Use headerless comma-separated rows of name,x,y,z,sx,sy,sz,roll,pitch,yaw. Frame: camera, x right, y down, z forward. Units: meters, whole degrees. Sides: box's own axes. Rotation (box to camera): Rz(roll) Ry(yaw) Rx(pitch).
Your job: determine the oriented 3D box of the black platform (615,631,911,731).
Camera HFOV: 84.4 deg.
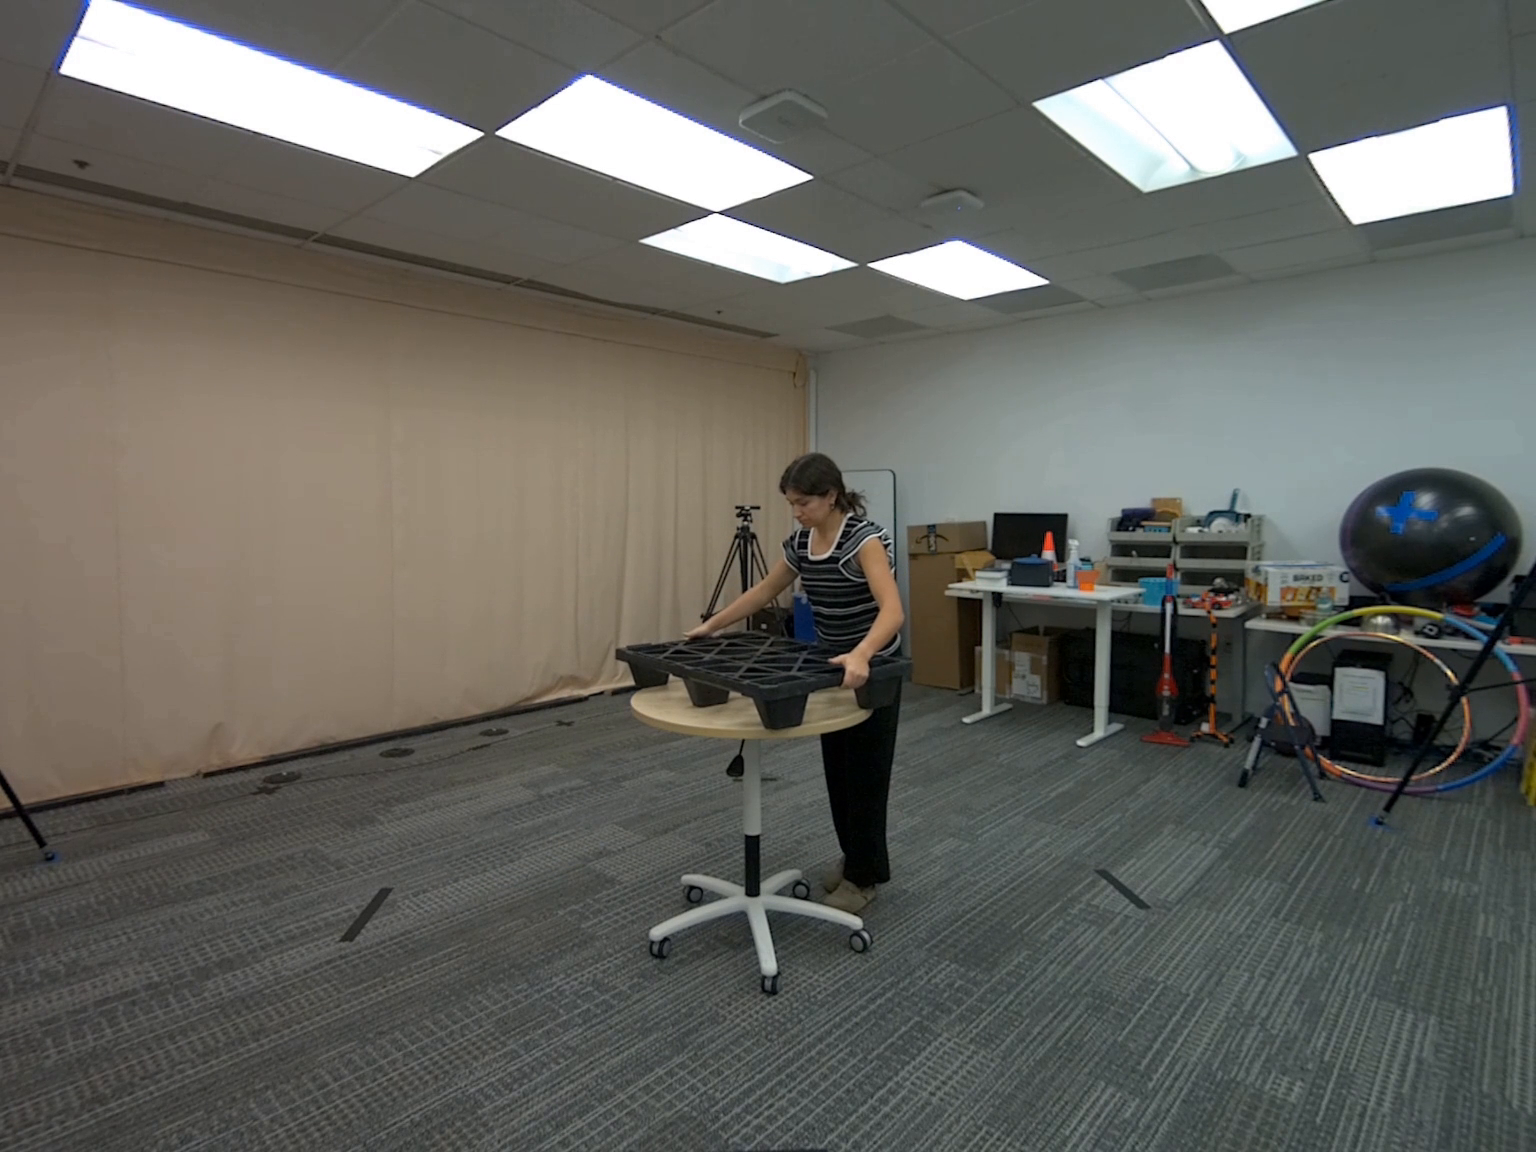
black platform,-0.028,0.317,2.701,0.587,0.143,0.832,-5,7,-38
